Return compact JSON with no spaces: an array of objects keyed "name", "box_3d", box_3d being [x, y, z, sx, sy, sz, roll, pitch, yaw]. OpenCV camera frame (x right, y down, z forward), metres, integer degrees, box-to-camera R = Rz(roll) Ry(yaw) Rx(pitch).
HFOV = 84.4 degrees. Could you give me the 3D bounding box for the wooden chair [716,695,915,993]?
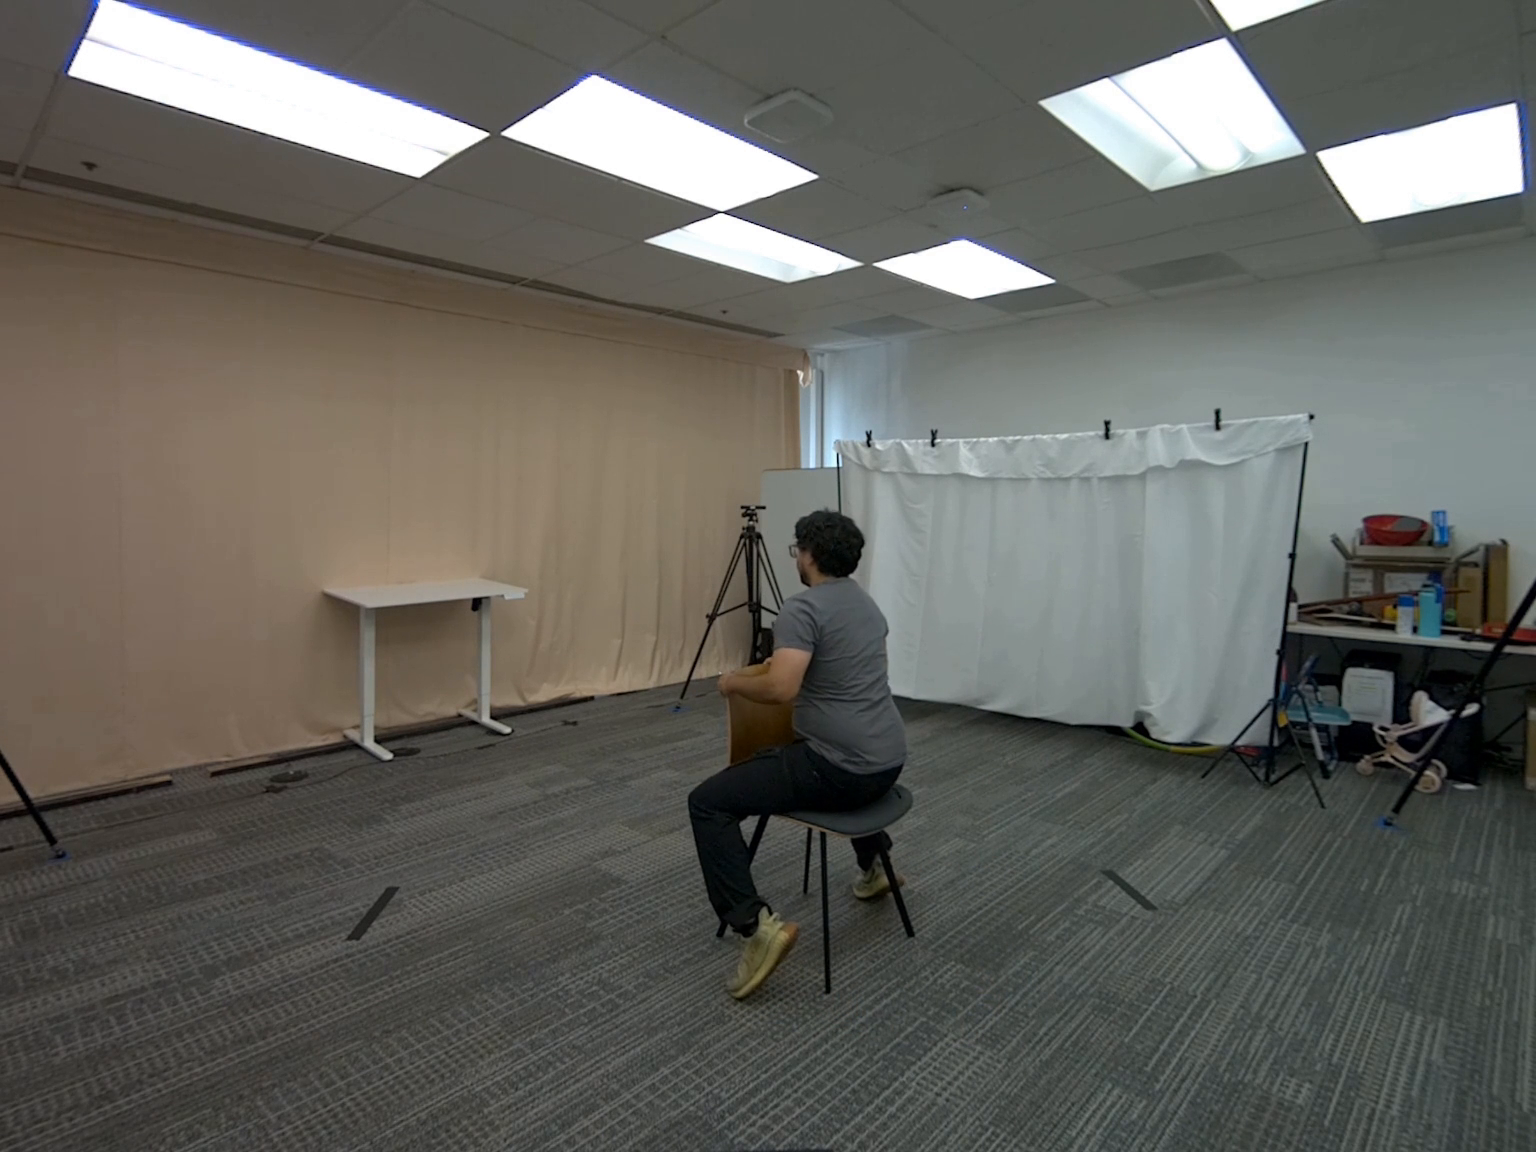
[{"name":"wooden chair","box_3d":[0.163,0.742,2.683,0.540,0.877,0.463,-2,0,44]}]
